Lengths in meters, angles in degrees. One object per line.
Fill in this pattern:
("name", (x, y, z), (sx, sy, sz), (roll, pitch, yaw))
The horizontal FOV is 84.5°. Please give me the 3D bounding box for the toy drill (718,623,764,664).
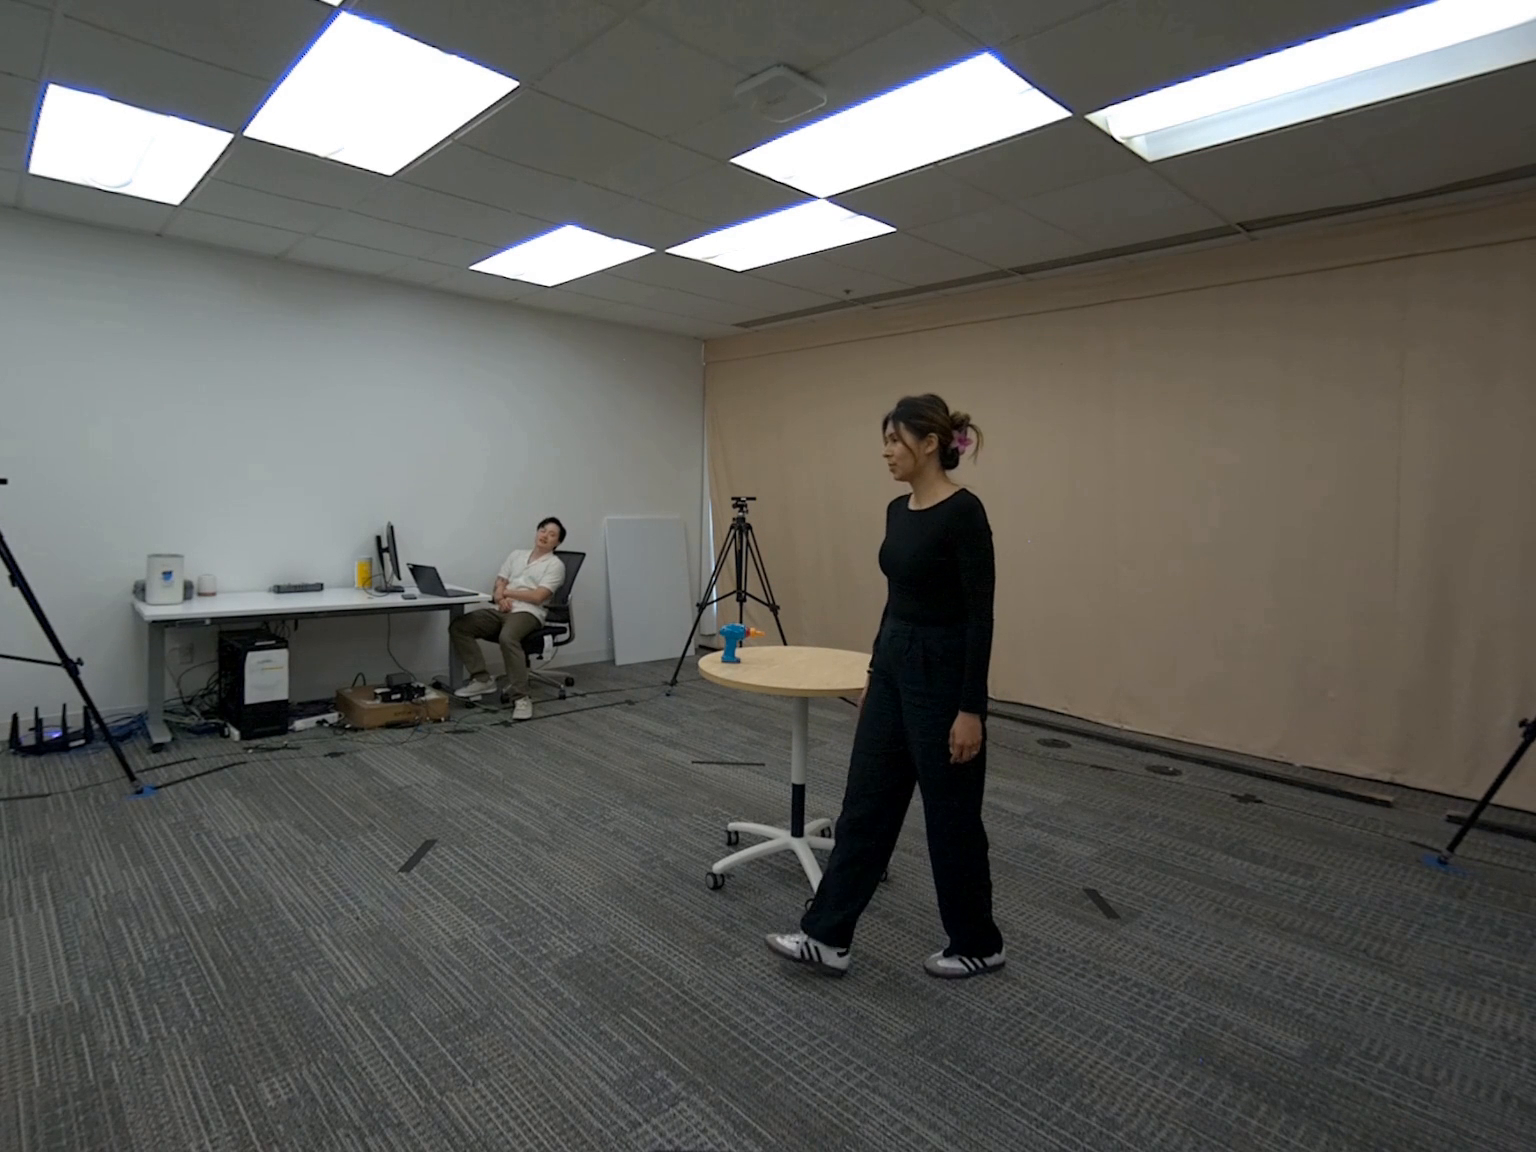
("toy drill", (-0.109, 0.252, 3.119), (0.170, 0.145, 0.061), (2, 4, -1))
